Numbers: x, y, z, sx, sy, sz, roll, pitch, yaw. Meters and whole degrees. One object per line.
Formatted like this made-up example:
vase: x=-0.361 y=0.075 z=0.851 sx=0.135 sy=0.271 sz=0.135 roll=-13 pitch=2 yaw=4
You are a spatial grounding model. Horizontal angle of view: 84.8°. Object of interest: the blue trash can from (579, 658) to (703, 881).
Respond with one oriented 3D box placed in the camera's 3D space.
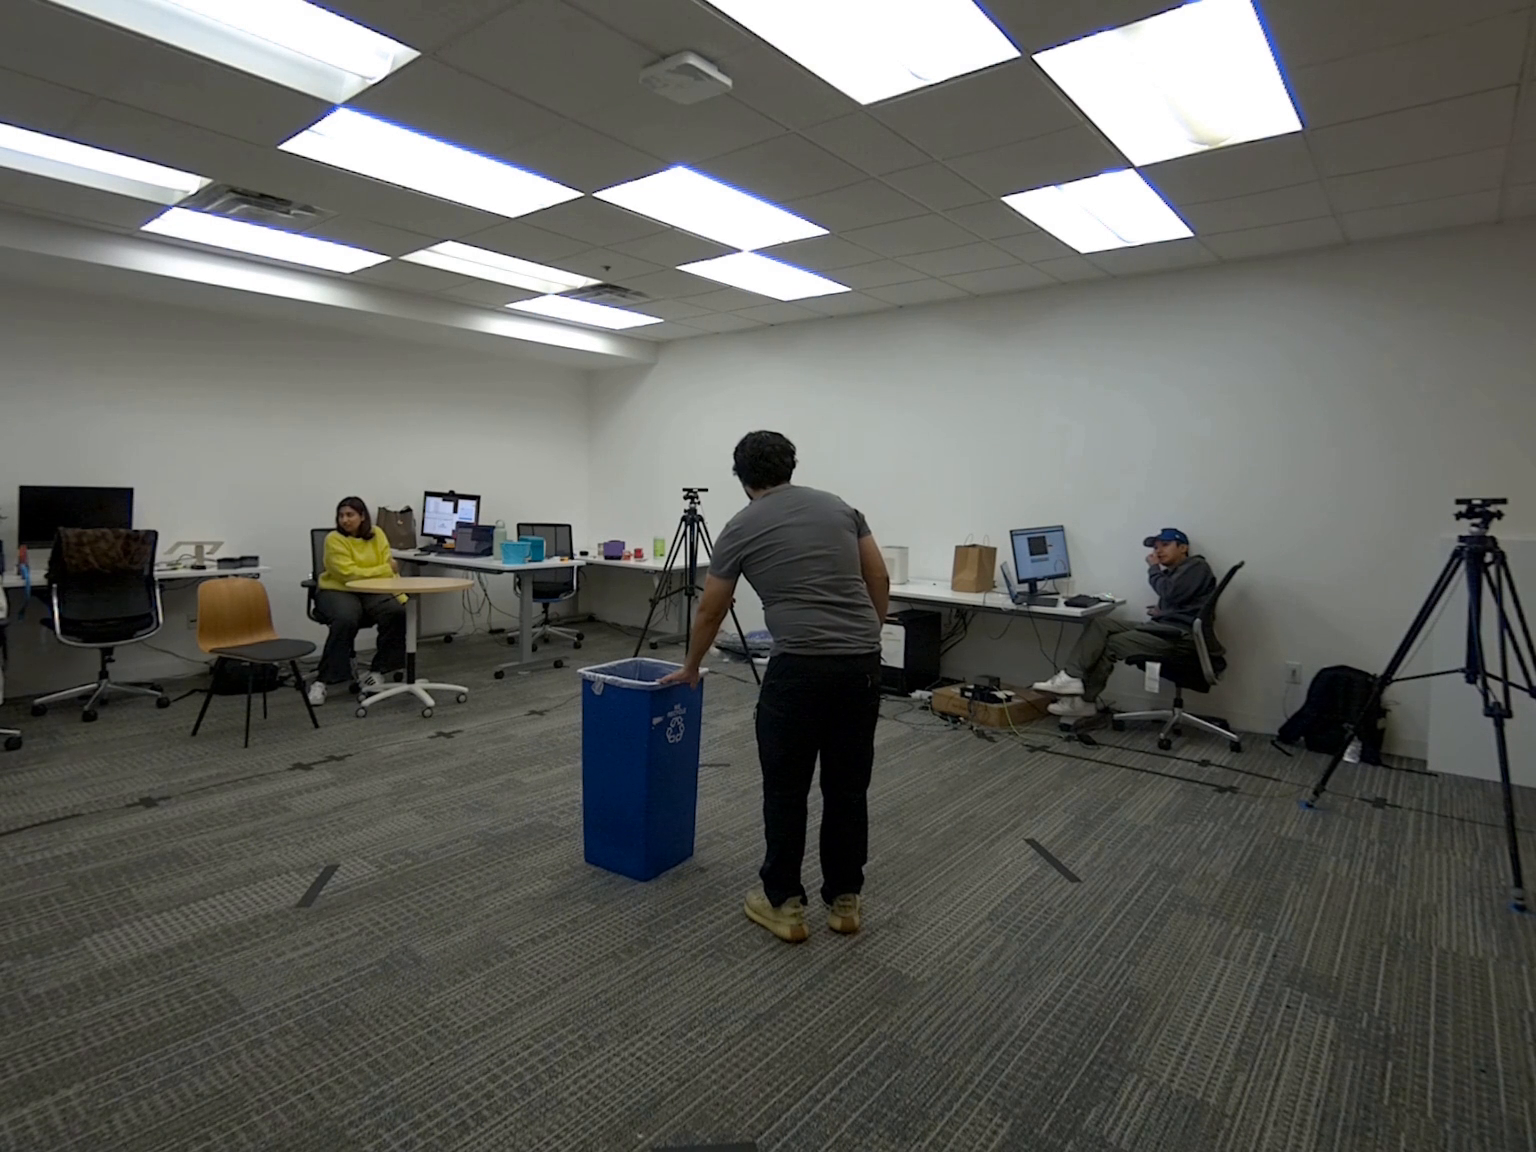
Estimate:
blue trash can: x=-0.482 y=0.699 z=3.189 sx=0.390 sy=0.712 sz=0.364 roll=3 pitch=4 yaw=32
